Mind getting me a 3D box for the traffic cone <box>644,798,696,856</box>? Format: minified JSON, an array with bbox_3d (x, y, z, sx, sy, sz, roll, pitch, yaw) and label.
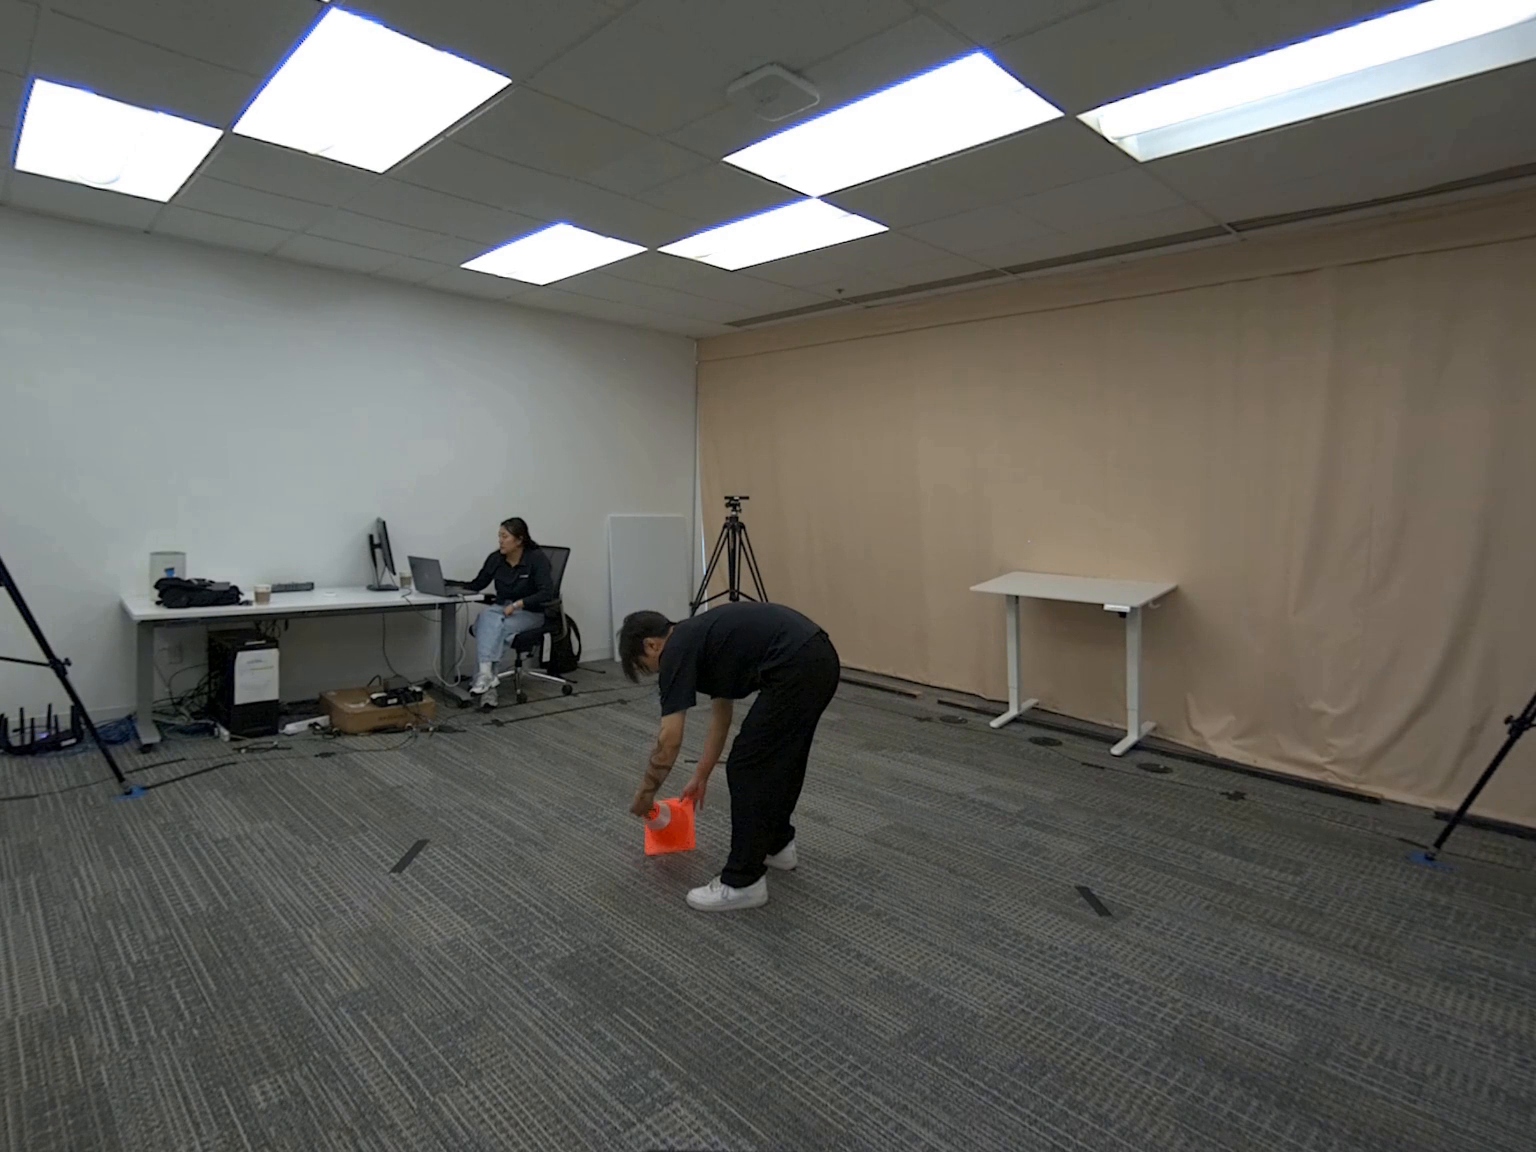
[{"bbox_3d":[-0.421,0.881,3.125,0.204,0.210,0.374,-11,-31,3],"label":"traffic cone"}]
